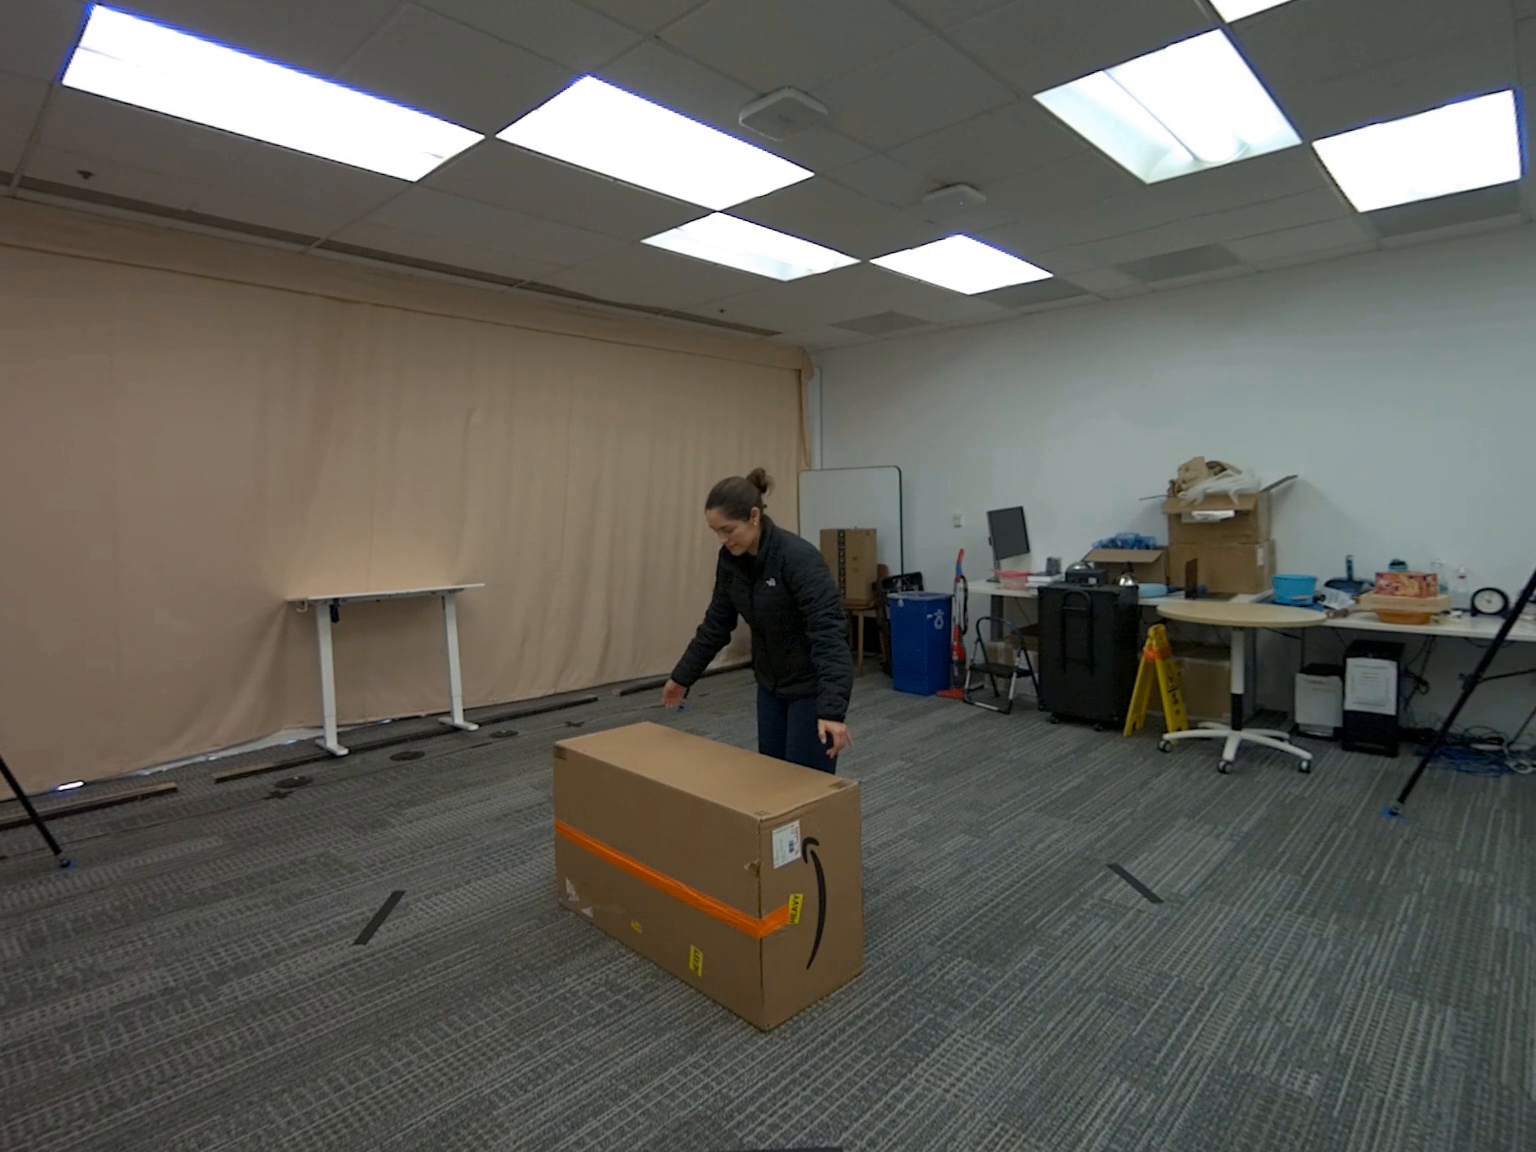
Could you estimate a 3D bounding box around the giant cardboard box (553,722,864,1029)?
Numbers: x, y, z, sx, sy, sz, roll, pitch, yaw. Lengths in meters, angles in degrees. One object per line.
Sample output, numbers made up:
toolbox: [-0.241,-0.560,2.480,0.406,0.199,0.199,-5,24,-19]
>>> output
giant cardboard box: [-0.223,0.881,2.713,0.433,0.583,1.061,-3,4,-43]
